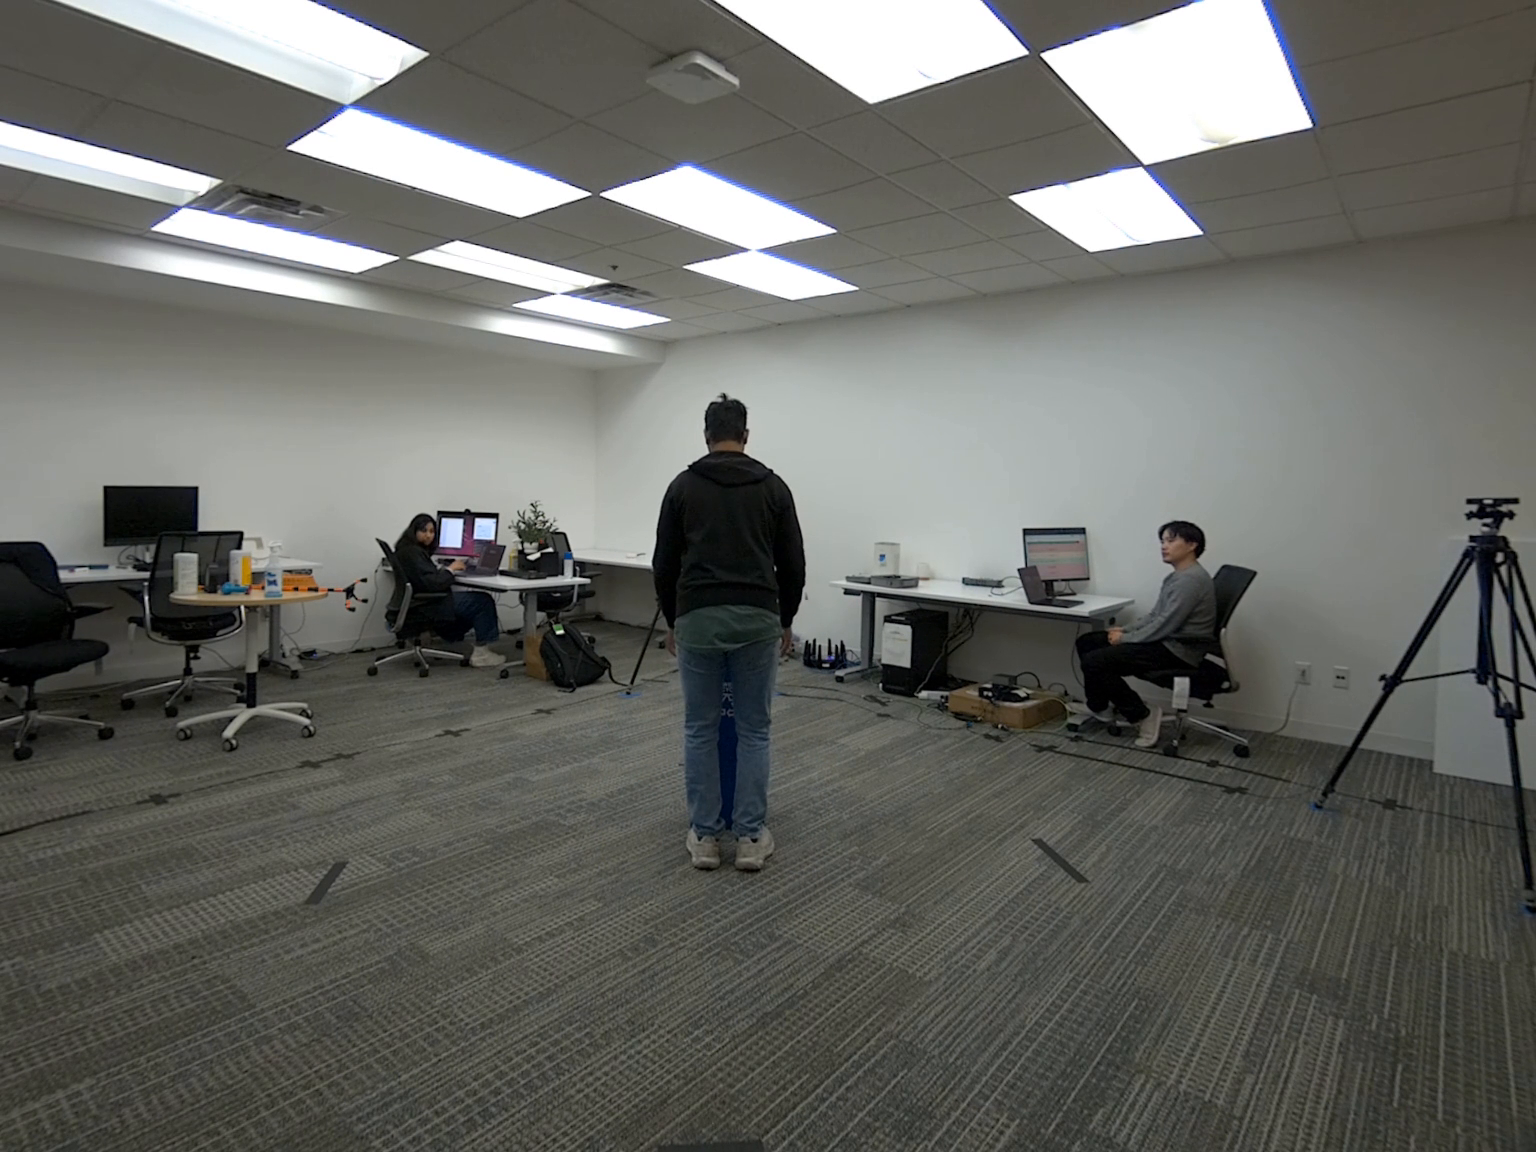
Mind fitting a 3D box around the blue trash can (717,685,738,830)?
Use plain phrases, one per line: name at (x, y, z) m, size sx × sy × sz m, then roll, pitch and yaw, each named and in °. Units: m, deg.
blue trash can at (-0.174, 0.662, 3.596) m, size 0.373 × 0.711 × 0.381 m, roll 1°, pitch 4°, yaw -4°
